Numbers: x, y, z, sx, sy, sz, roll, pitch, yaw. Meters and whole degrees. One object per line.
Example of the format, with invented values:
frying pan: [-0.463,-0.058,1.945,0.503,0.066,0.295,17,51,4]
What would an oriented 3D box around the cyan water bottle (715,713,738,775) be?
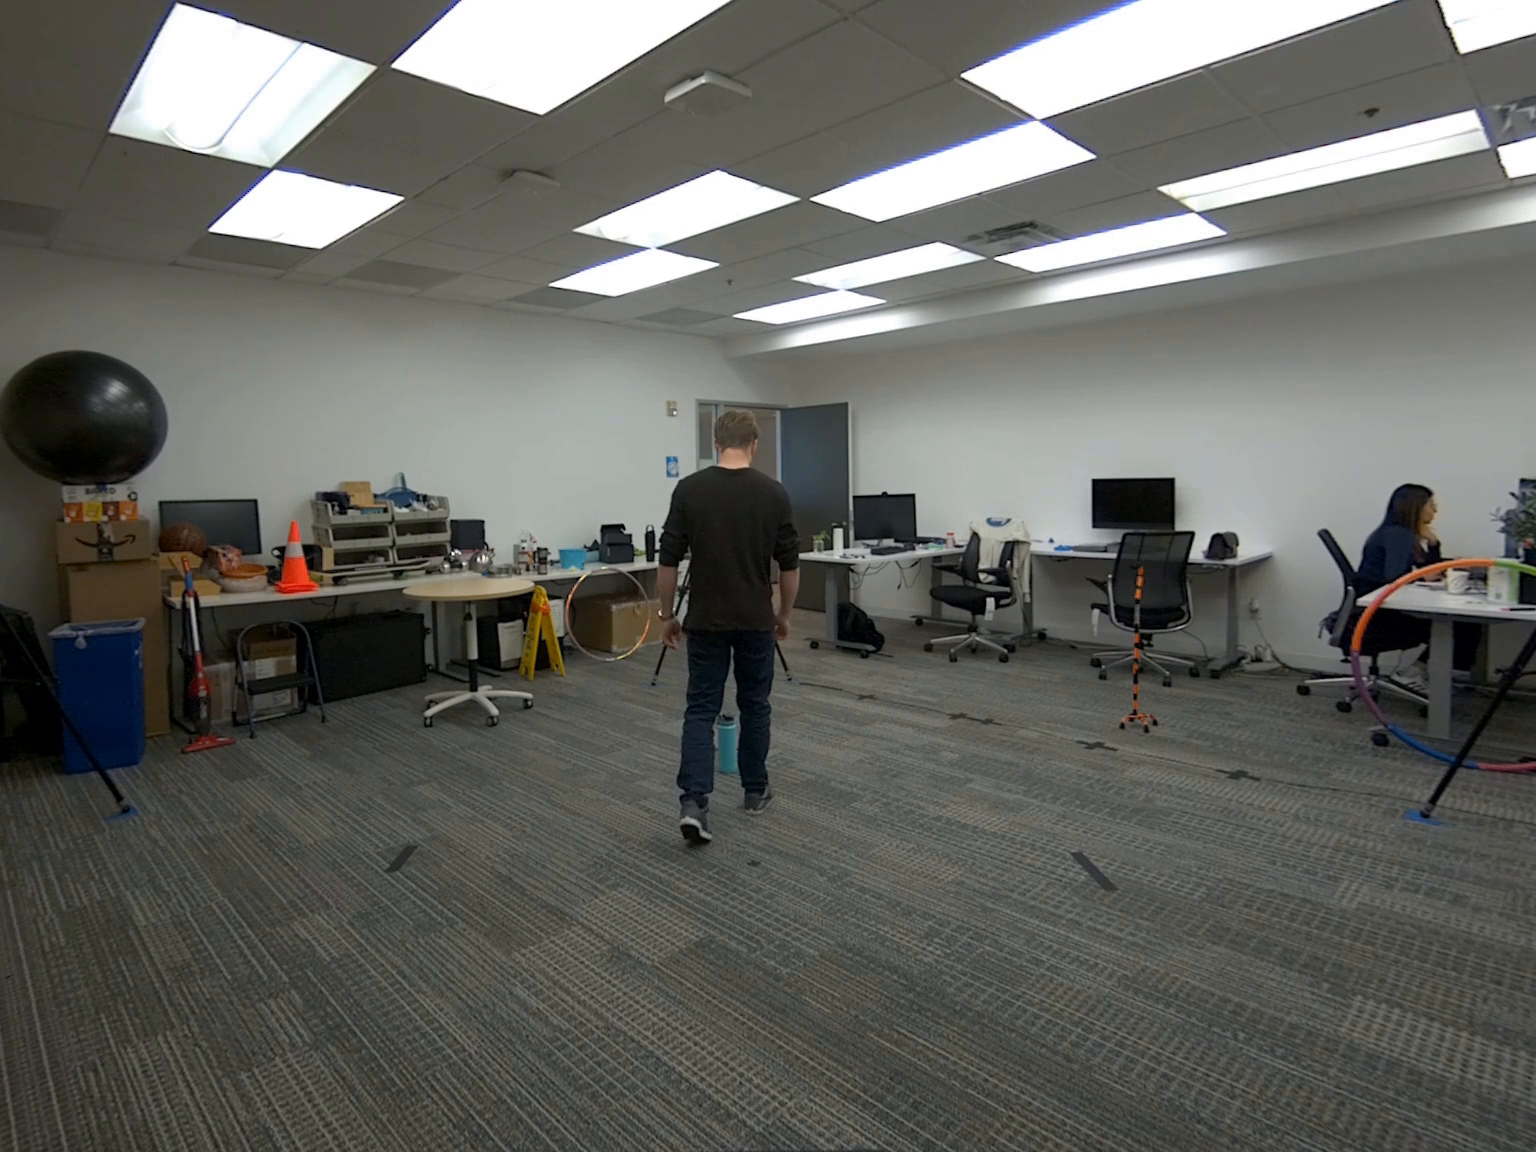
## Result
cyan water bottle: [-0.197,0.796,4.106,0.092,0.283,0.092,-1,1,-2]
